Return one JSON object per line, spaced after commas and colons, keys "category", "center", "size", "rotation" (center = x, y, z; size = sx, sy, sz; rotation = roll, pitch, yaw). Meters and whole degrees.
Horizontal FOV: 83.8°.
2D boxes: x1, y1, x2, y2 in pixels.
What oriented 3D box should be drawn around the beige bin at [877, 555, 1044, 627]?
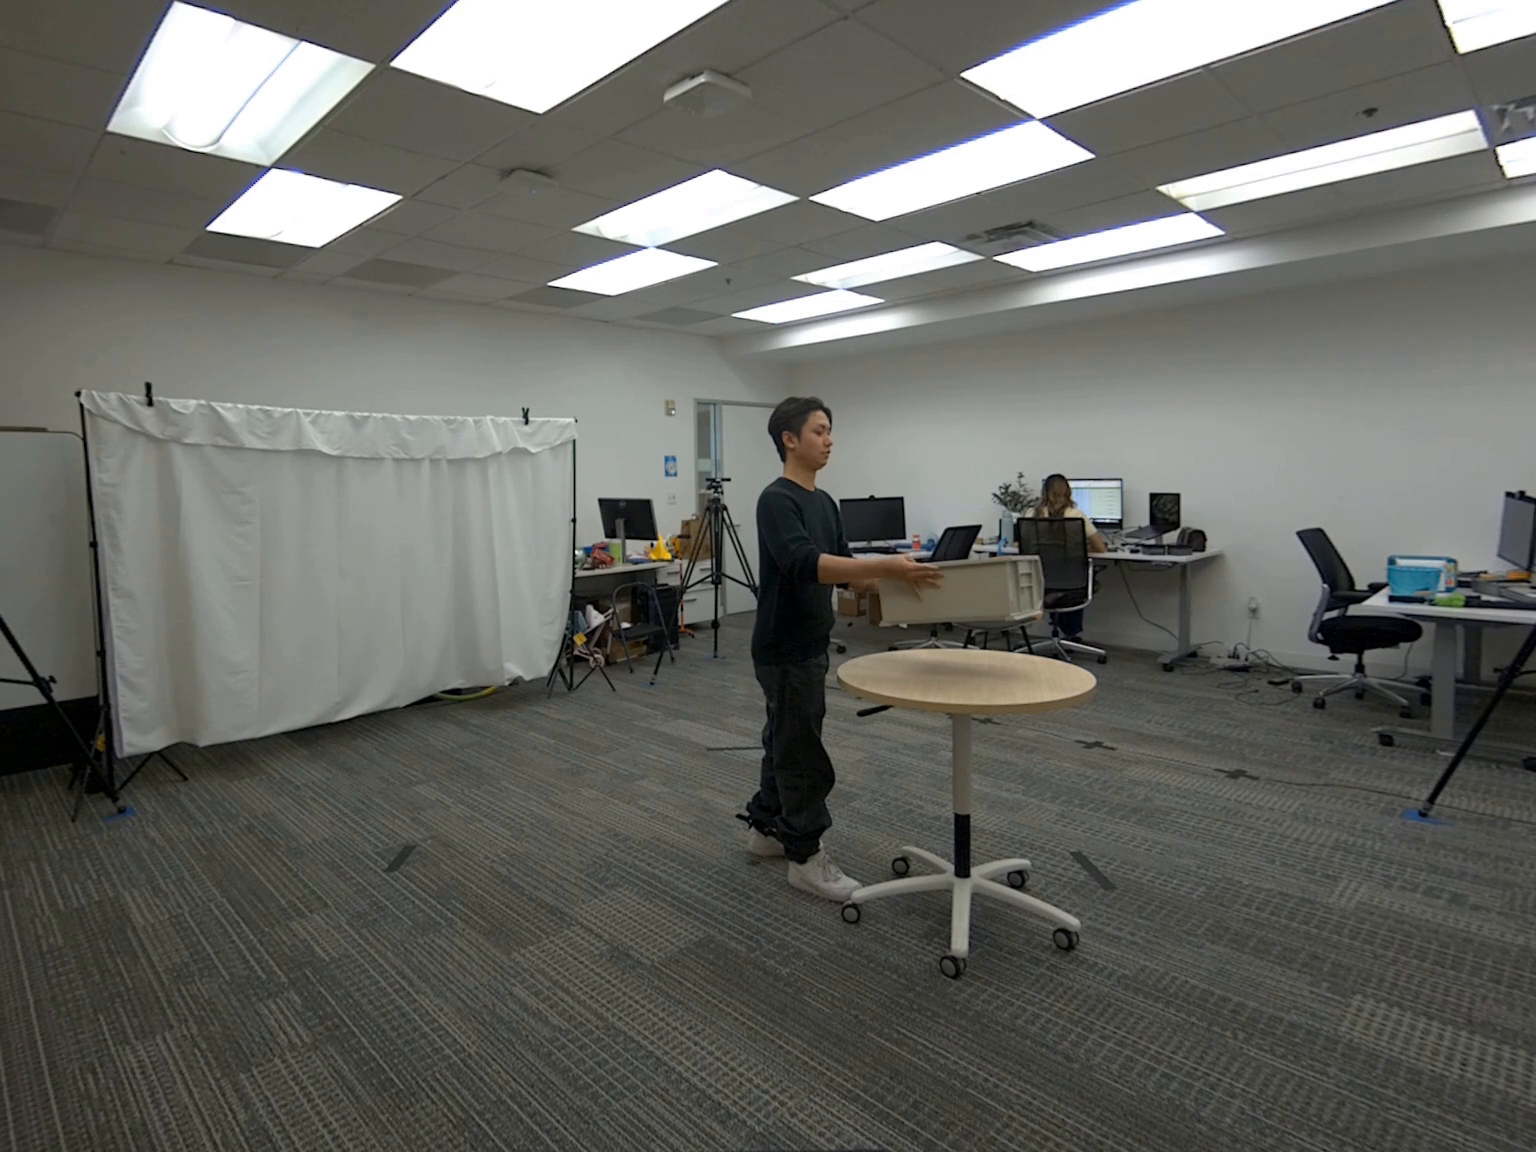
{"category": "beige bin", "center": [0.596, 0.048, 2.637], "size": [0.432, 0.189, 0.368], "rotation": [-5, 0, 32]}
